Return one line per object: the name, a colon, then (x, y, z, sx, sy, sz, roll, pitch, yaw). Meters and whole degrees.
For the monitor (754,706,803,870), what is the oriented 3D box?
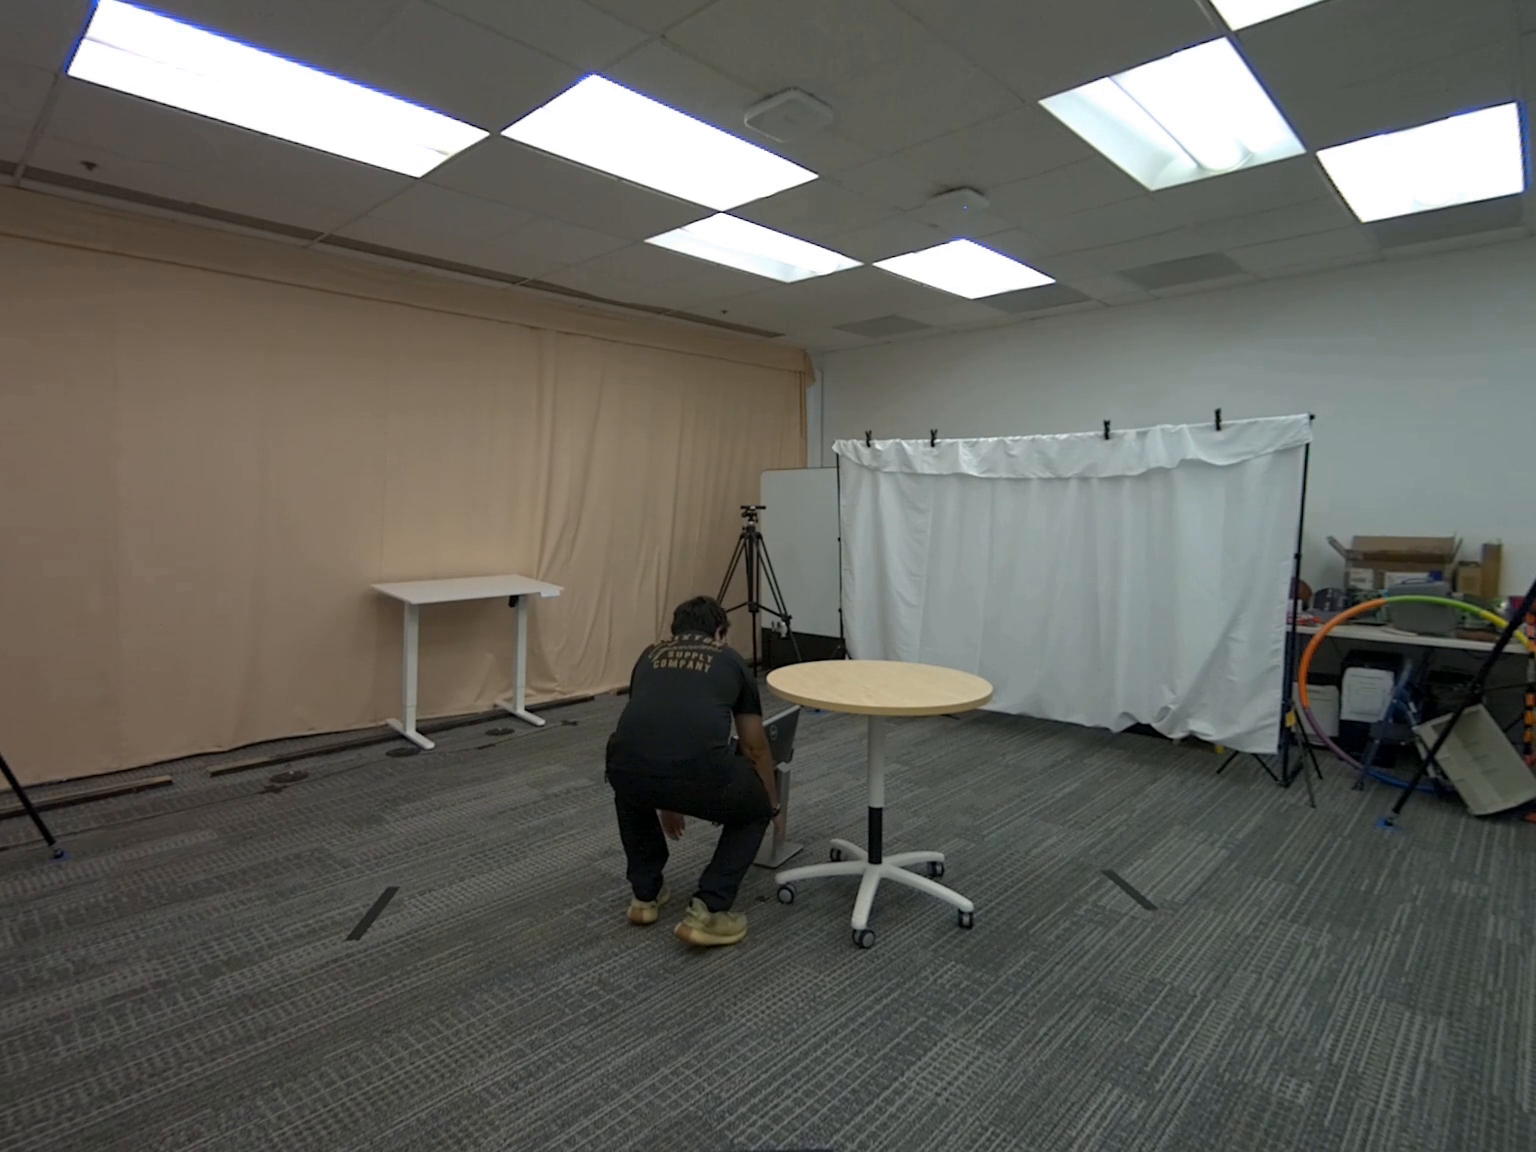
monitor: (0.020, 0.848, 3.346, 0.216, 0.552, 0.551, 8, 7, 28)
